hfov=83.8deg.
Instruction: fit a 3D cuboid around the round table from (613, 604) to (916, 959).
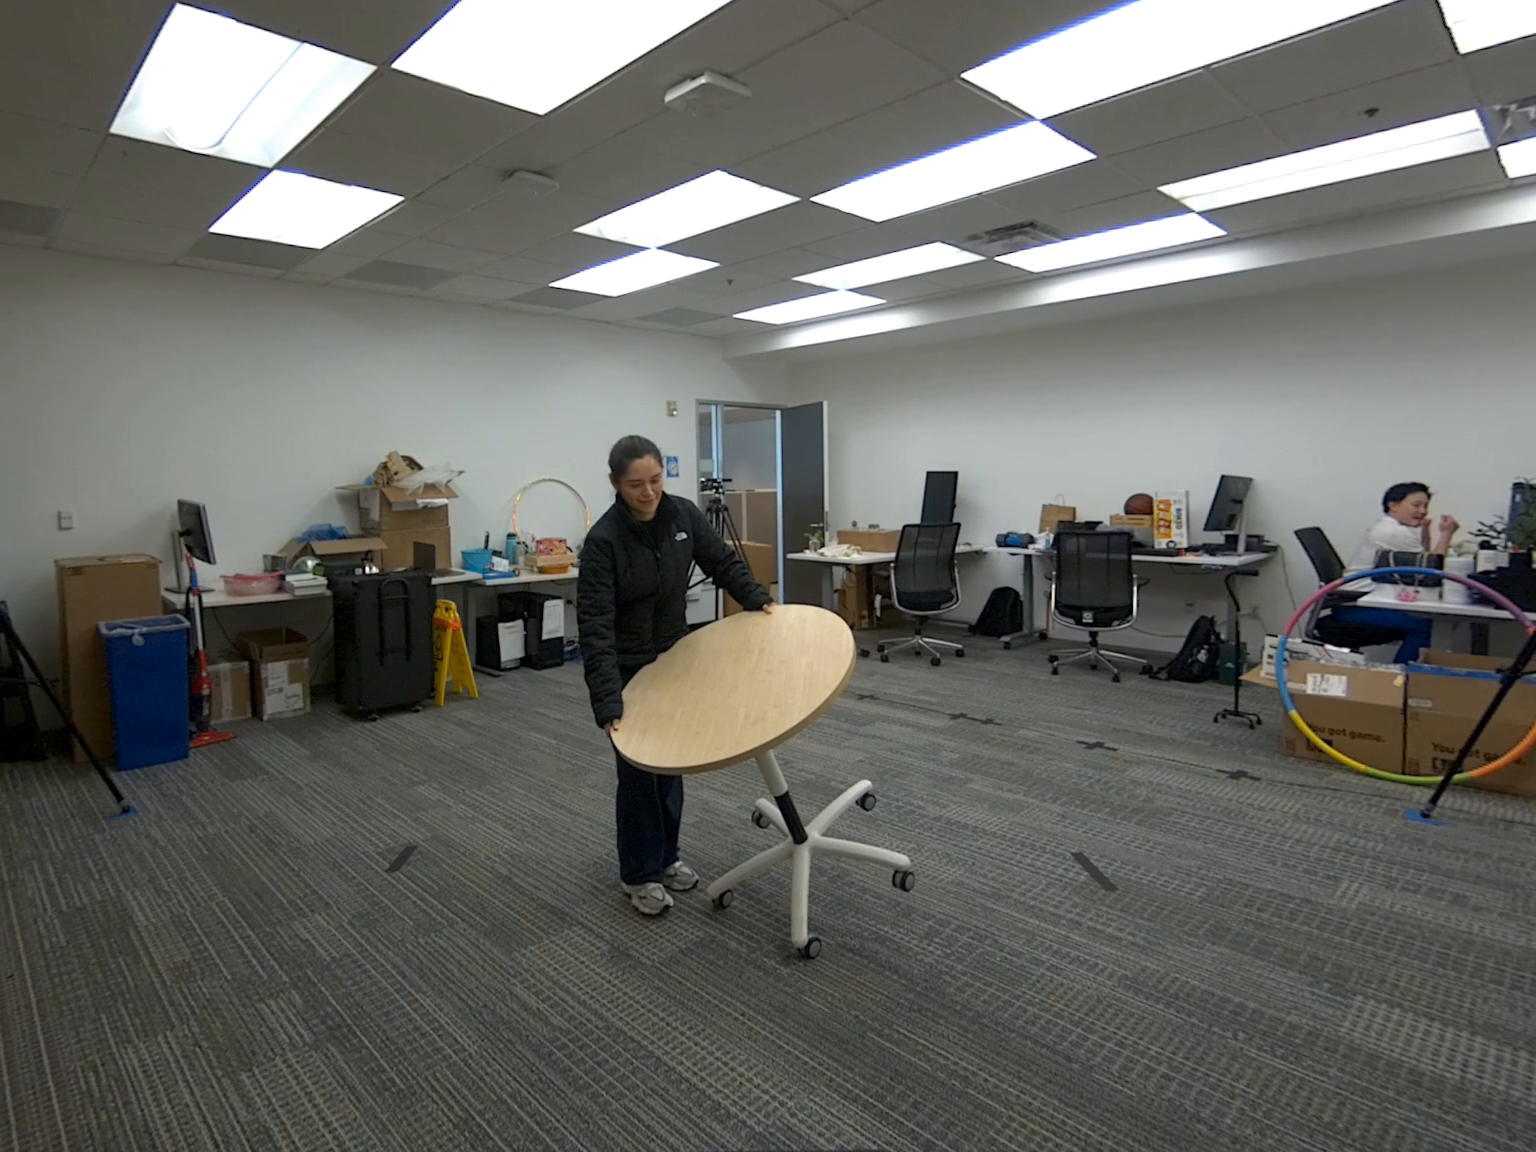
[{"bbox_3d":[0.016,0.631,2.670,0.788,0.768,0.801,-19,22,6],"label":"round table"}]
